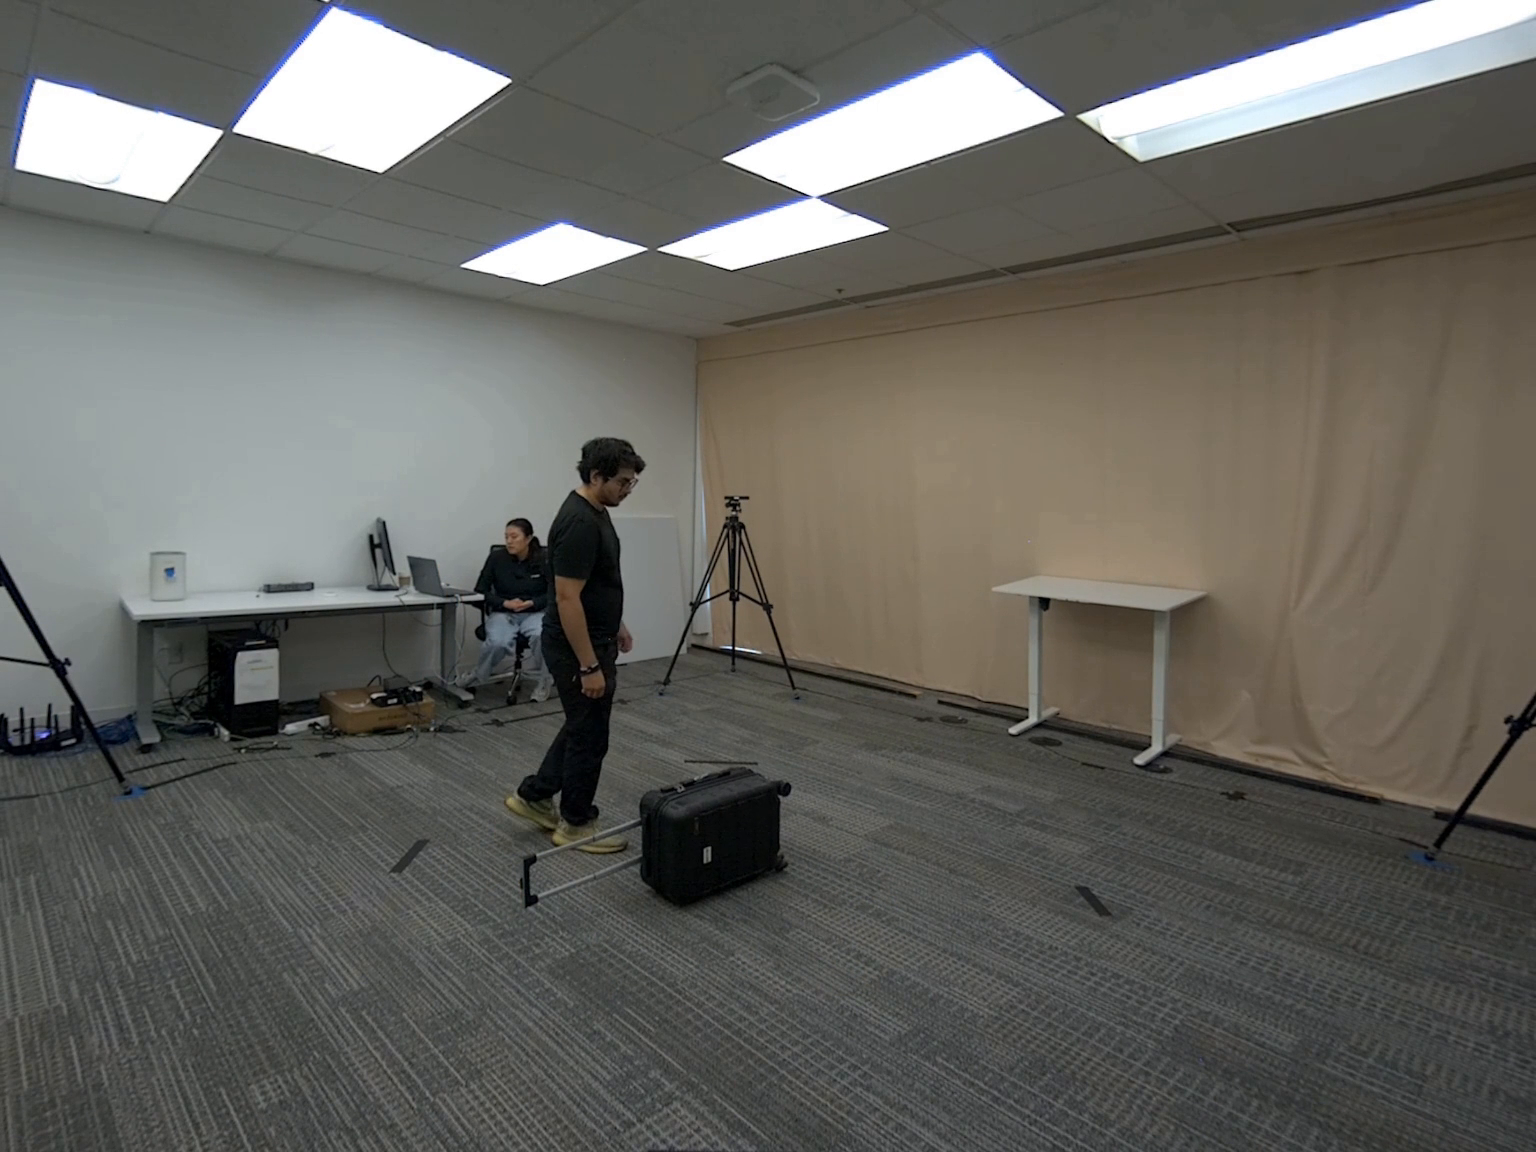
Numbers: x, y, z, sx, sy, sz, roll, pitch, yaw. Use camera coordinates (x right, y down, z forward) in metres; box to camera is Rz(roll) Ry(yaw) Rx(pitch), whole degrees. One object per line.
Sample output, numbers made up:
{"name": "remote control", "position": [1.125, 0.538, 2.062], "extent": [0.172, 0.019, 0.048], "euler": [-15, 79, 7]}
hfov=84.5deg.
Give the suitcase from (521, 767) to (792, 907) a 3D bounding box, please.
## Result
{"name": "suitcase", "position": [-0.346, 0.931, 2.891], "extent": [0.957, 0.383, 0.264], "euler": [-4, 7, -44]}
